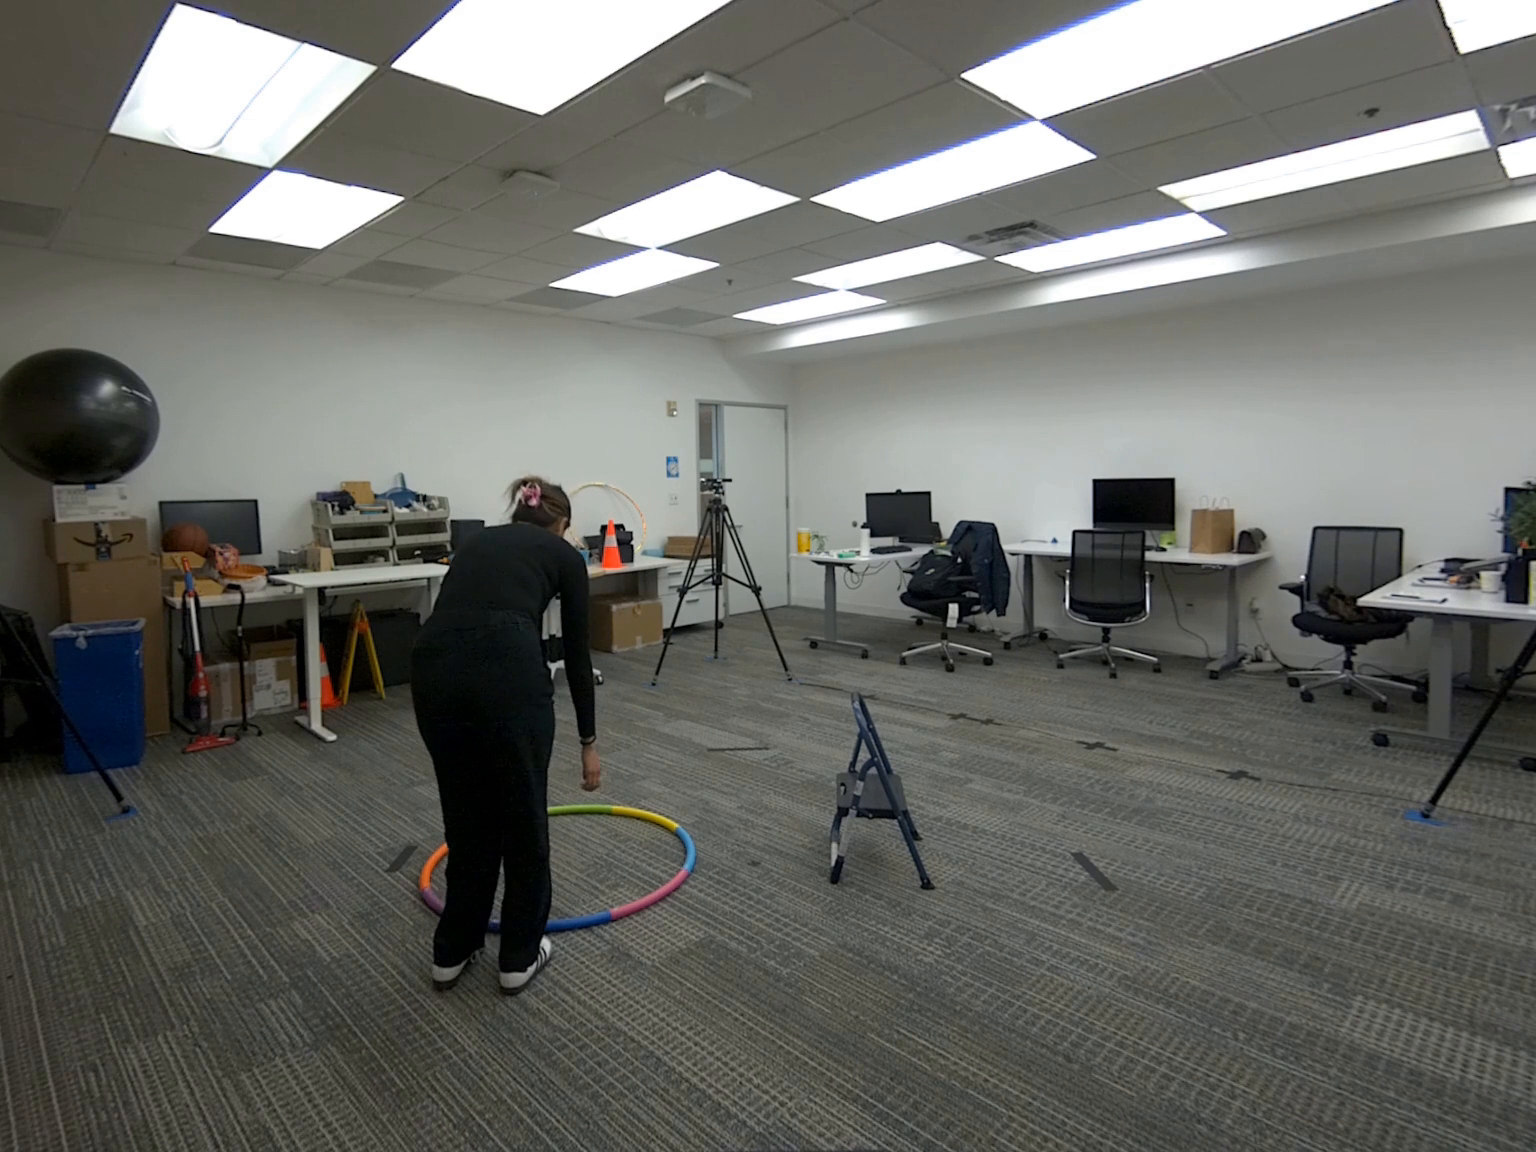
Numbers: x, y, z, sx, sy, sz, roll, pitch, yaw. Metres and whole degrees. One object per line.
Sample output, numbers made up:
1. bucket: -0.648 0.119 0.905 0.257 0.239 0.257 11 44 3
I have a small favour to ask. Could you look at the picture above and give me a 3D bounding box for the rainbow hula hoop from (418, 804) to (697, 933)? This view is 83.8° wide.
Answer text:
1. rainbow hula hoop: -0.748 1.021 3.133 0.978 0.035 0.984 -1 7 -2
